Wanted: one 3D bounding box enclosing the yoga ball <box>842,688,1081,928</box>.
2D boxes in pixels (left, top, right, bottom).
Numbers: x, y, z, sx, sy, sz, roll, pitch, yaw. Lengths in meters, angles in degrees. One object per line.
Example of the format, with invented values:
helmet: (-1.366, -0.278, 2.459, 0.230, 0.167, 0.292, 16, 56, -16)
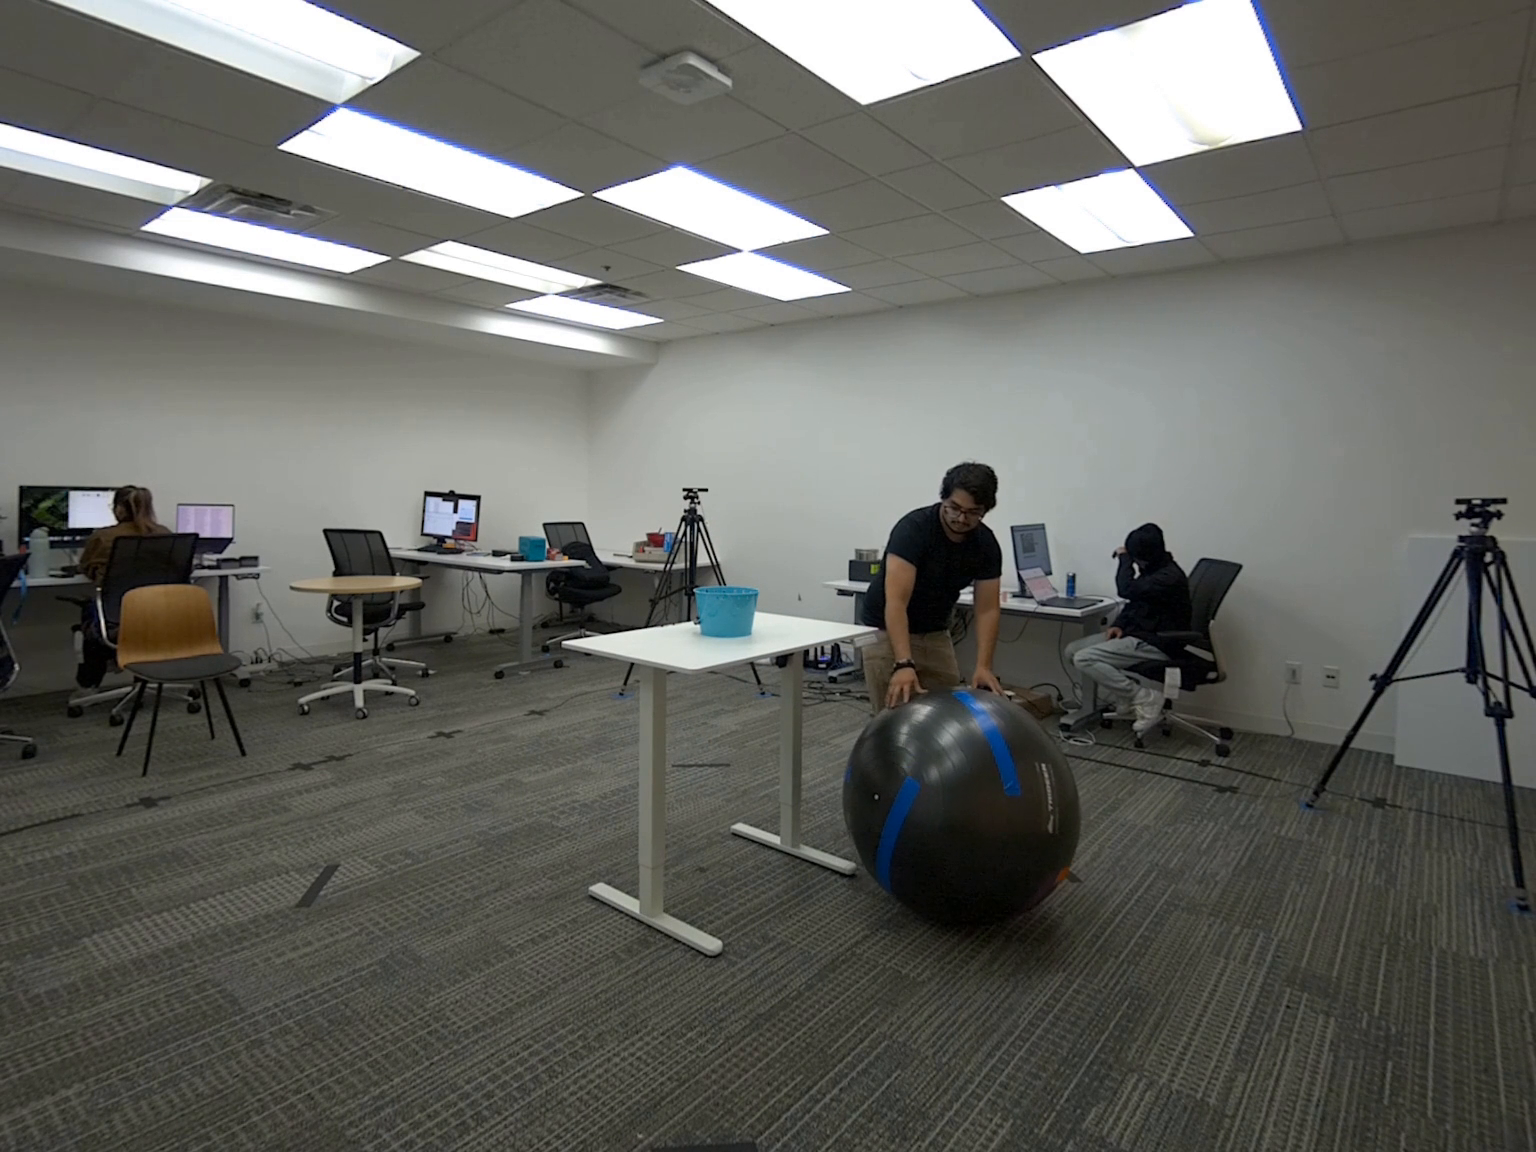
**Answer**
yoga ball: (0.628, 0.752, 2.838, 0.757, 0.755, 0.762, 1, 4, -2)
